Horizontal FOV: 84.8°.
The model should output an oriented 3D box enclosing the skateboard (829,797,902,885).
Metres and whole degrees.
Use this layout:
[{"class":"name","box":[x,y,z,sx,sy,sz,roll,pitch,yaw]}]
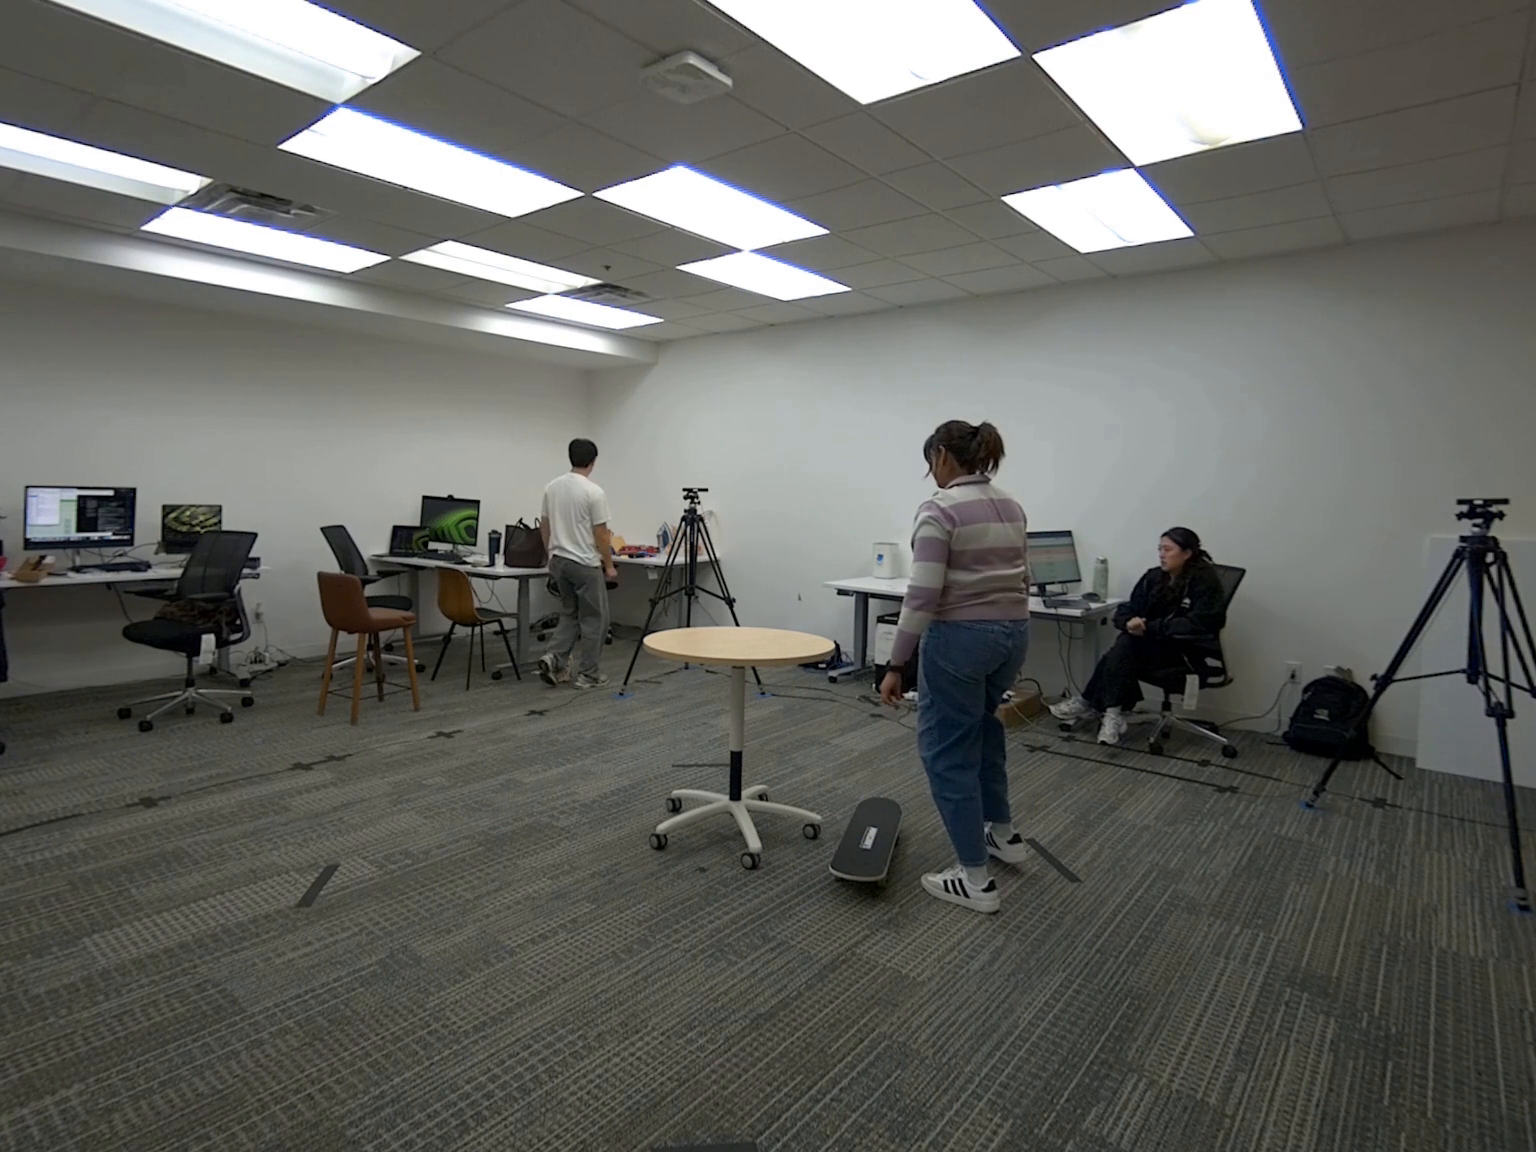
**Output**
[{"class":"skateboard","box":[0.372,1.015,3.211,0.197,0.110,0.774,1,6,16]}]
